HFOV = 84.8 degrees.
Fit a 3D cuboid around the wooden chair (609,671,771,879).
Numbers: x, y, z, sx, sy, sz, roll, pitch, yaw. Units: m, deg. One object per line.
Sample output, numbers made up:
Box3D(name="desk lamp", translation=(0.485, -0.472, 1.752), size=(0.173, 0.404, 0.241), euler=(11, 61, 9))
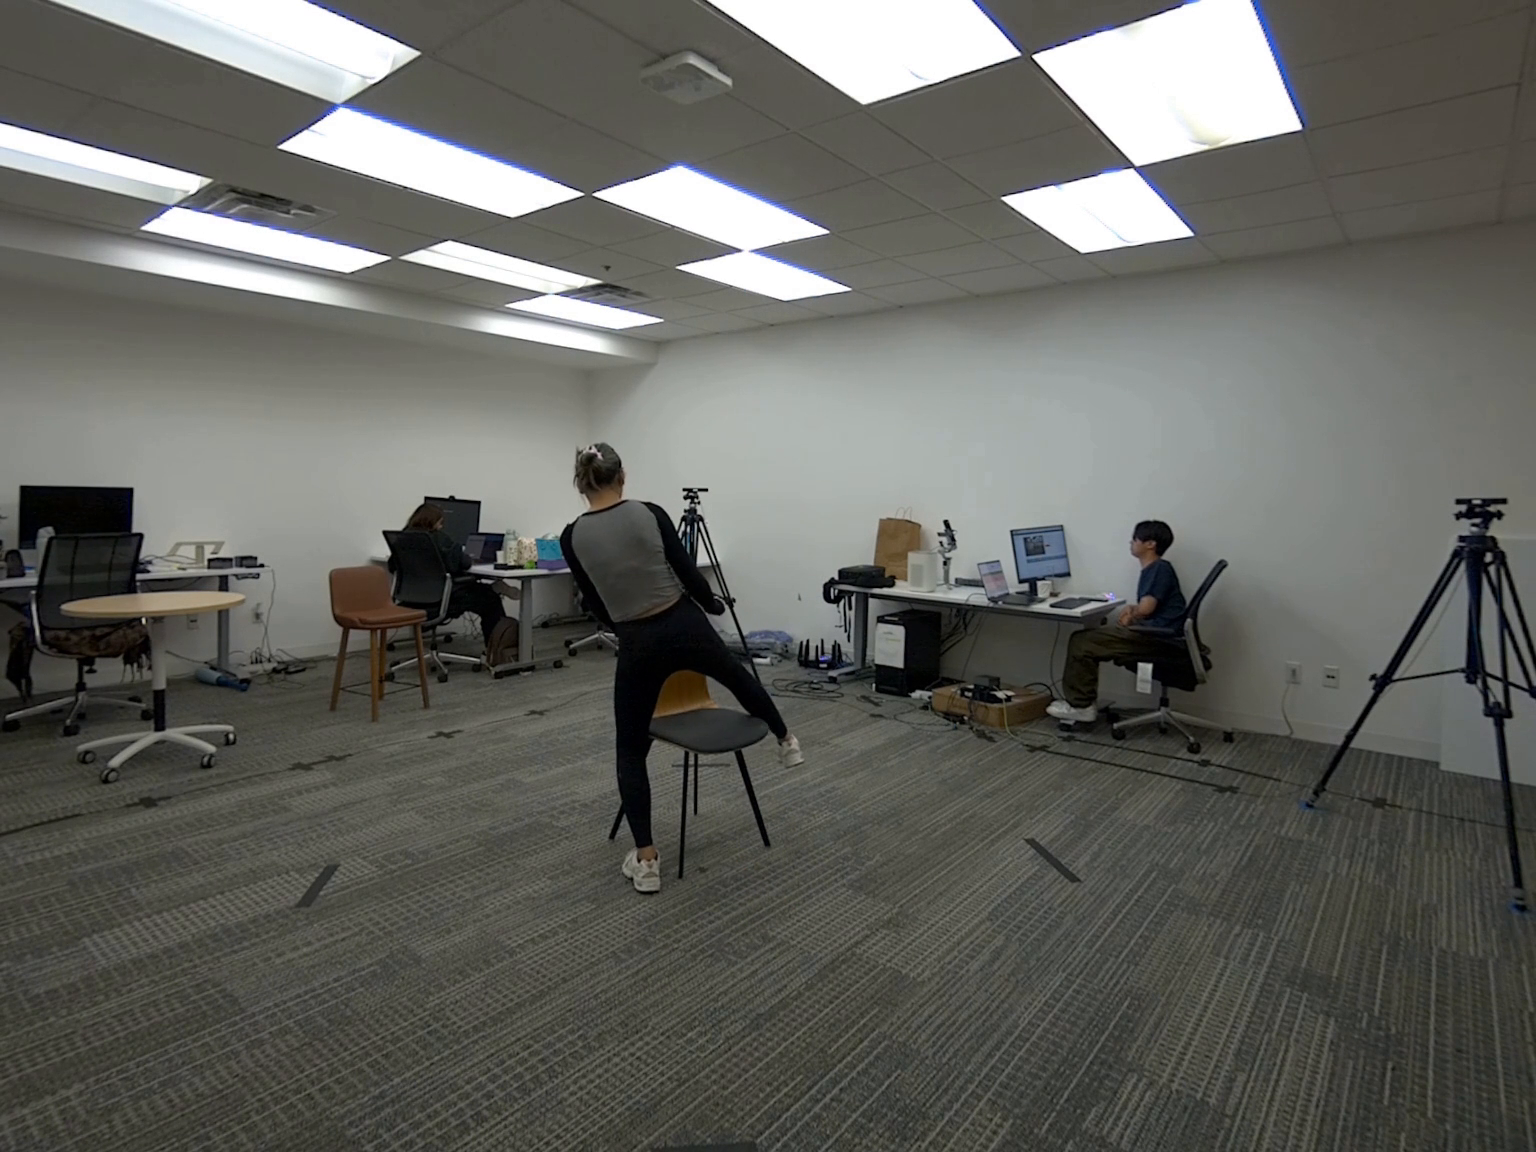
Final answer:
Box3D(name="wooden chair", translation=(-0.302, 0.624, 3.312), size=(0.463, 0.878, 0.539), euler=(-1, -1, -43))
